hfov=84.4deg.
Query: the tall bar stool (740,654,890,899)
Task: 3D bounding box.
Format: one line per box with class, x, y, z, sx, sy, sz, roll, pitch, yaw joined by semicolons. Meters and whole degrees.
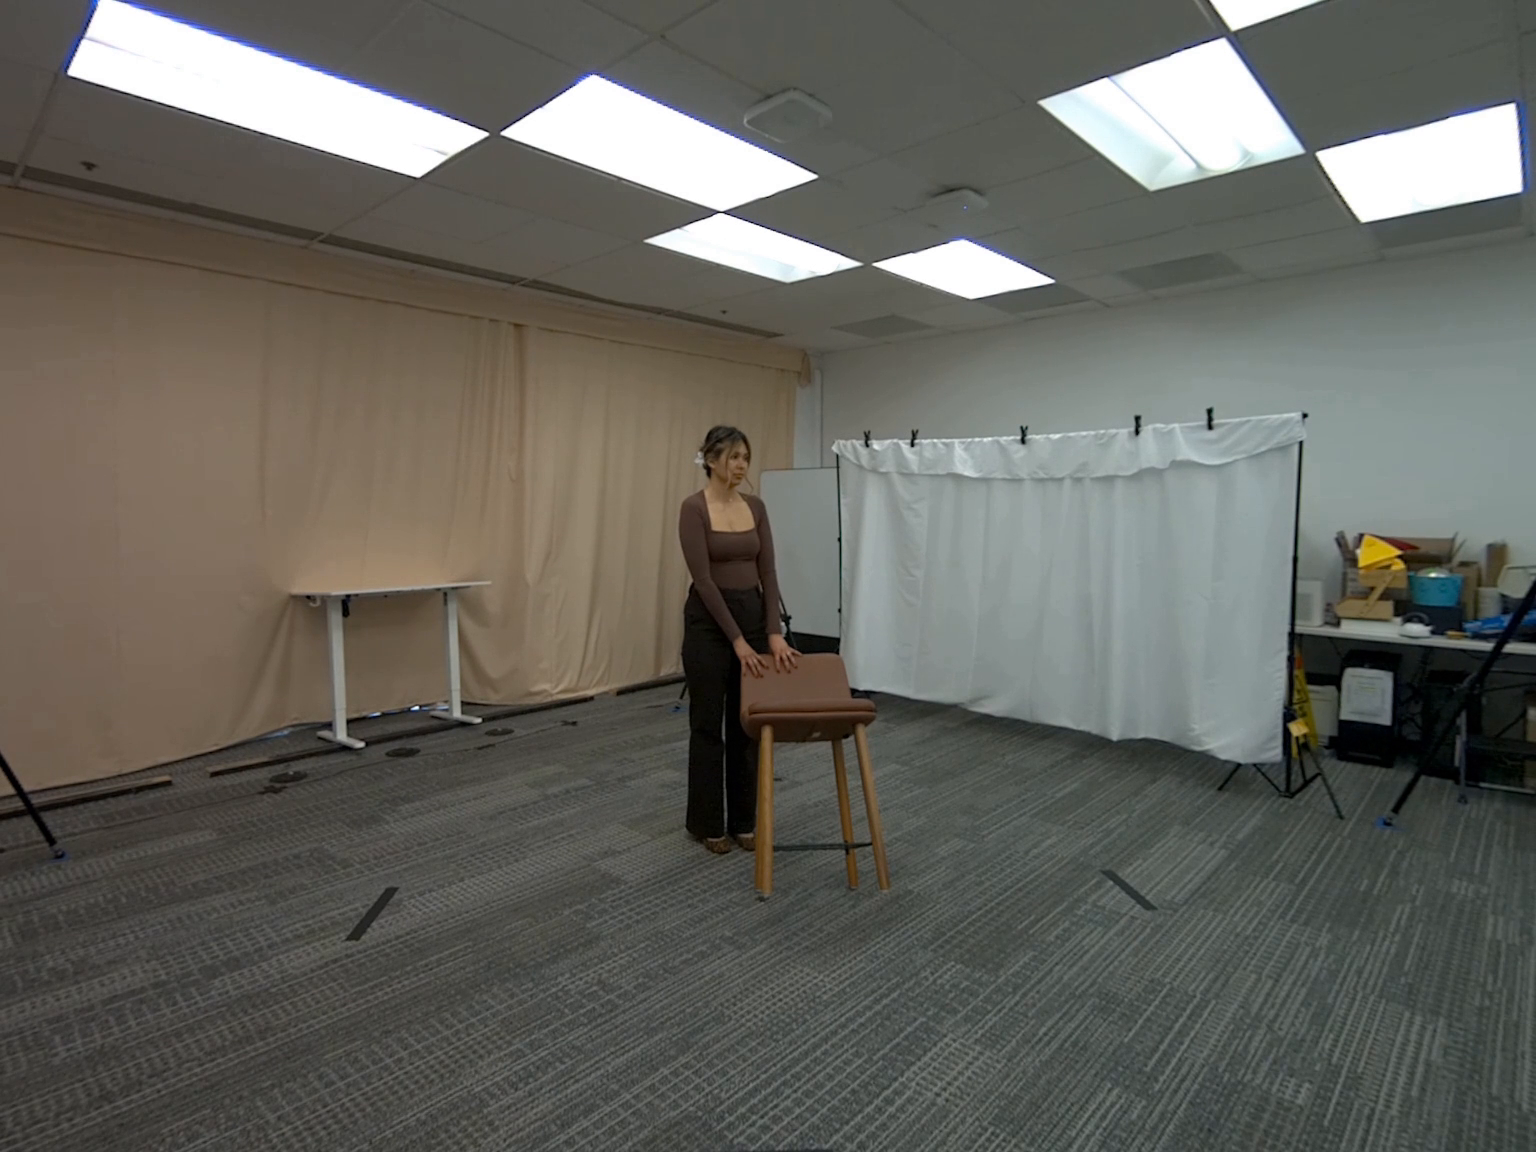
tall bar stool;0.147;0.658;3.016;0.455;0.902;0.463;-1;-22;-4
